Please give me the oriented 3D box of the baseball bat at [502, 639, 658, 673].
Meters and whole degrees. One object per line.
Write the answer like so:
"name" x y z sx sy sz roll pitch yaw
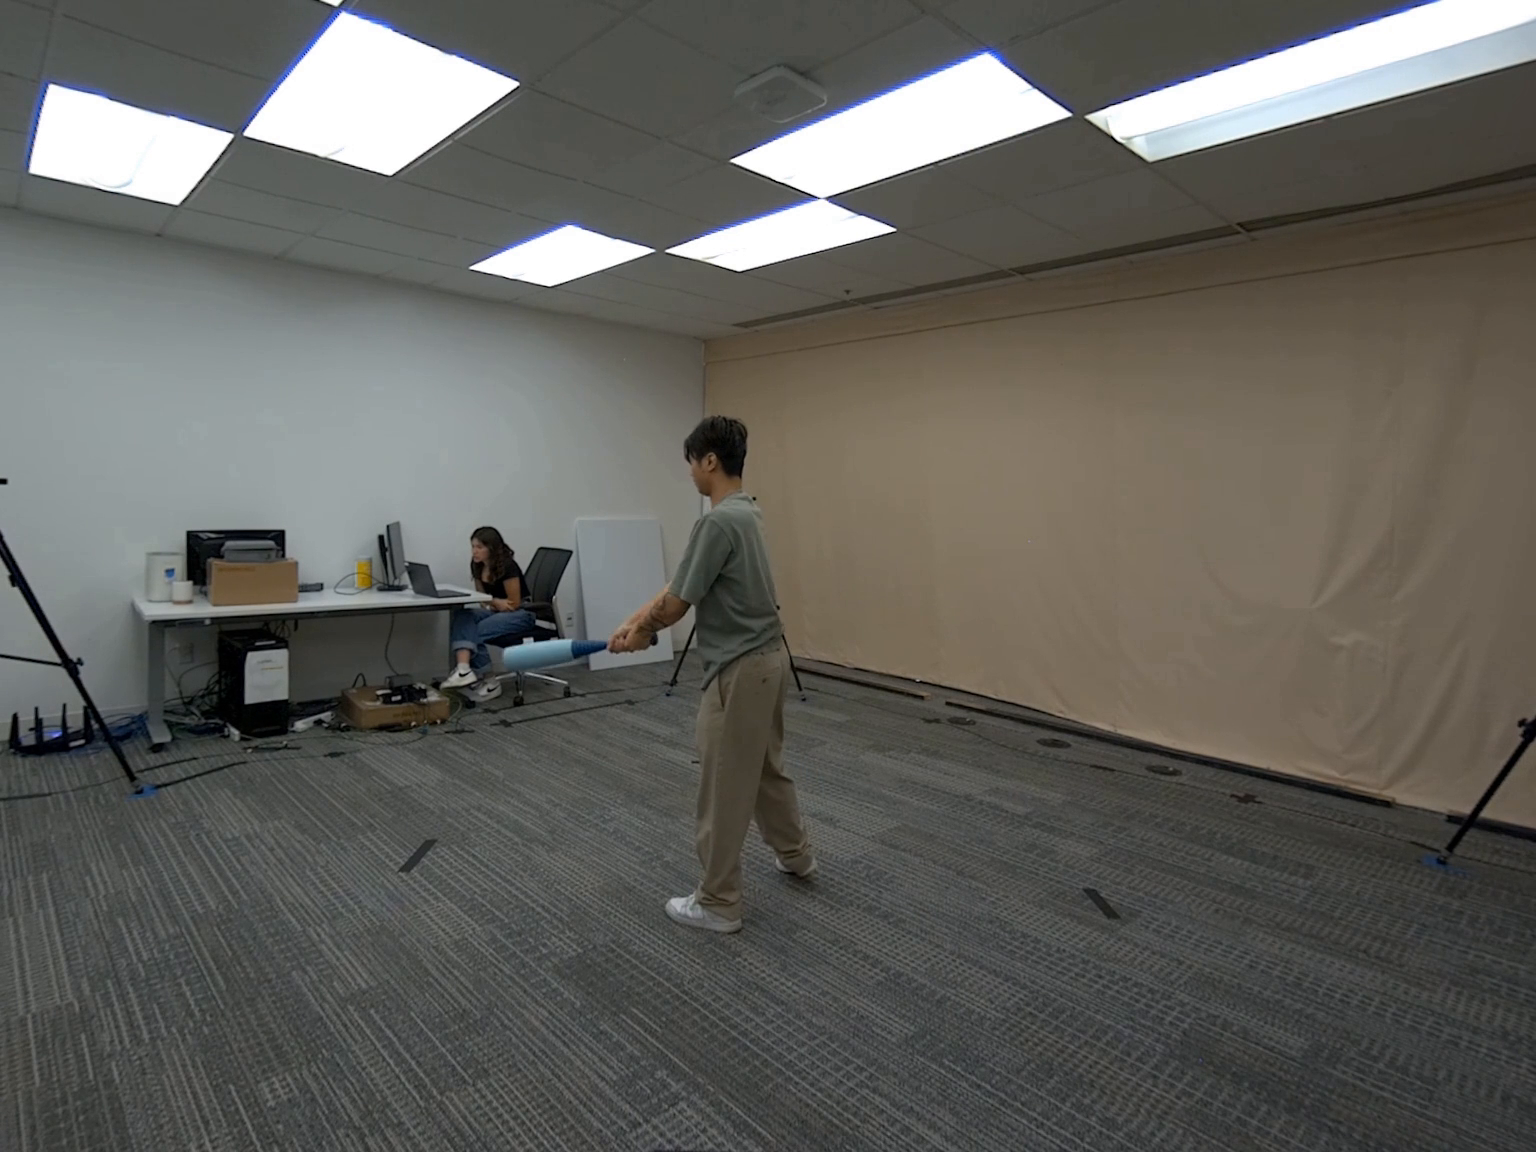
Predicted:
"baseball bat" -0.631 0.243 2.855 0.546 0.089 0.089 -7 3 8
